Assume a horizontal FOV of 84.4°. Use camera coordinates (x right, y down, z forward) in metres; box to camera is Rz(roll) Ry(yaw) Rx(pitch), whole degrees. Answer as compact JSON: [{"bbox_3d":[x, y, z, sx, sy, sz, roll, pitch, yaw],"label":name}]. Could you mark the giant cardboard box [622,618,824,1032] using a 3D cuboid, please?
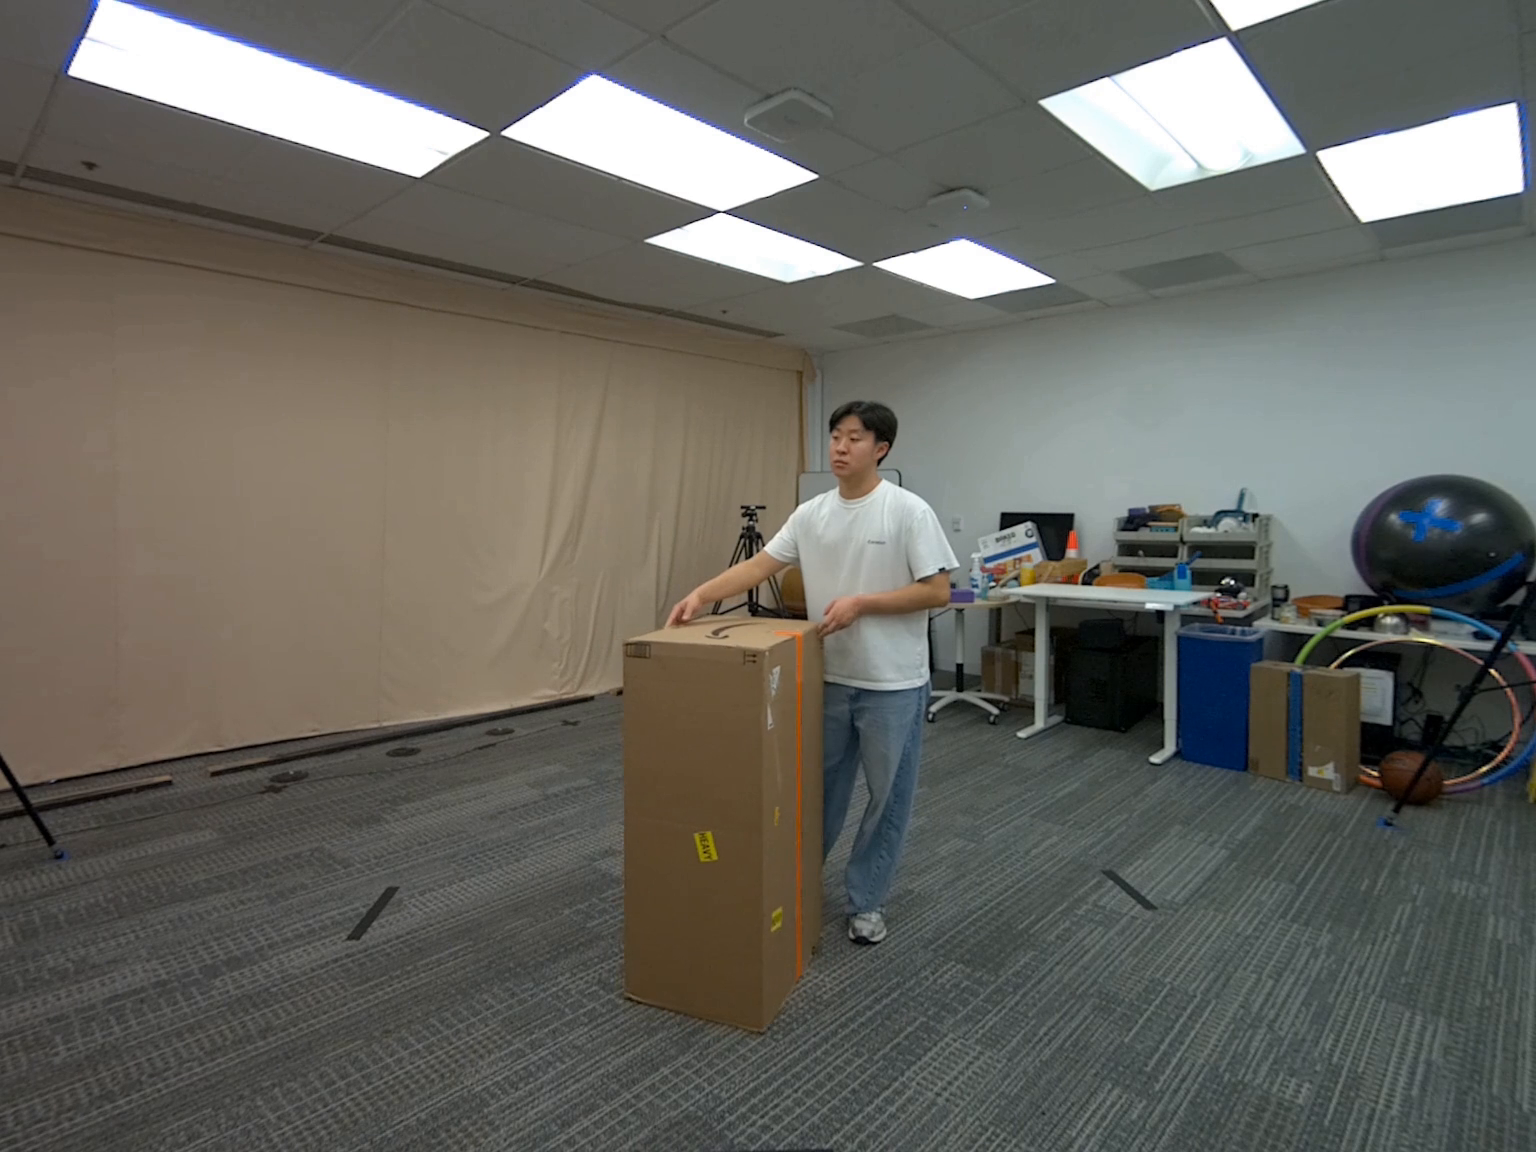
[{"bbox_3d":[-0.116,0.672,2.529,0.436,1.024,0.565,1,3,22],"label":"giant cardboard box"}]
